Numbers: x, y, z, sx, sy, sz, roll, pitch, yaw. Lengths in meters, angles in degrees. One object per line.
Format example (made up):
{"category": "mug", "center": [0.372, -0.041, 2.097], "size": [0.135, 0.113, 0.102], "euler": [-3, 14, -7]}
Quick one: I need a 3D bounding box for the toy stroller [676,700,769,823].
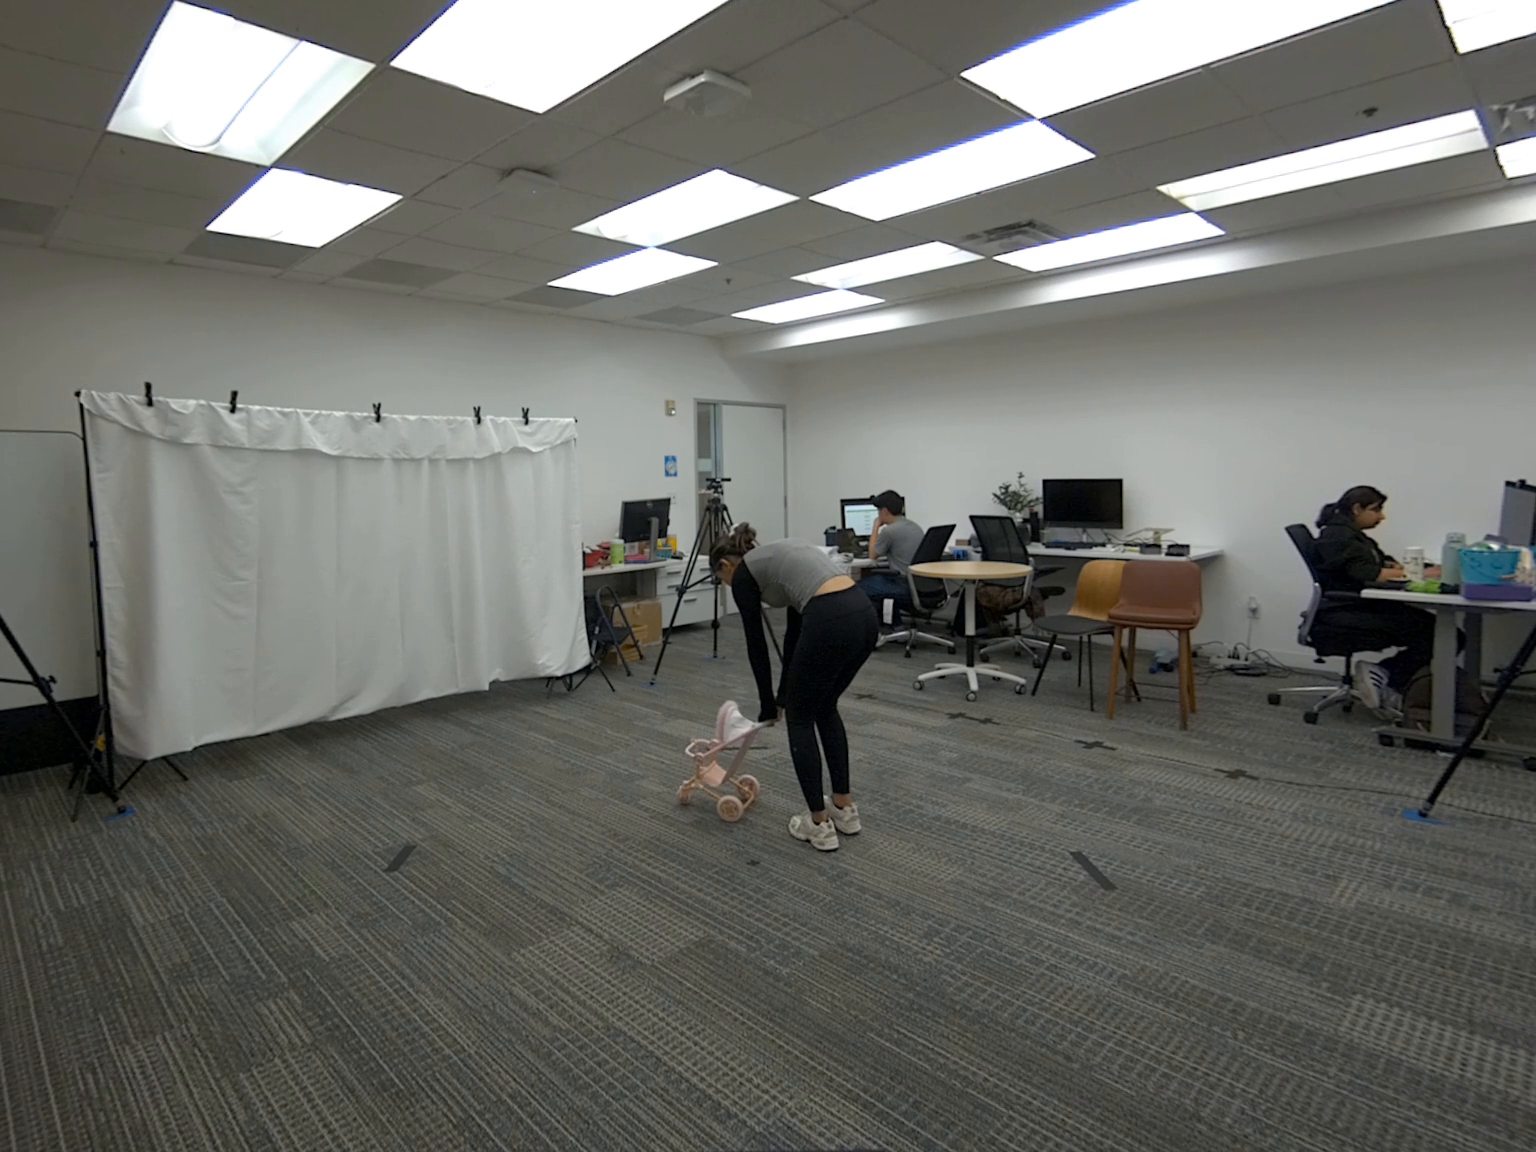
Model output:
{"category": "toy stroller", "center": [-0.182, 0.764, 3.607], "size": [0.350, 0.531, 0.276], "euler": [18, 10, 20]}
